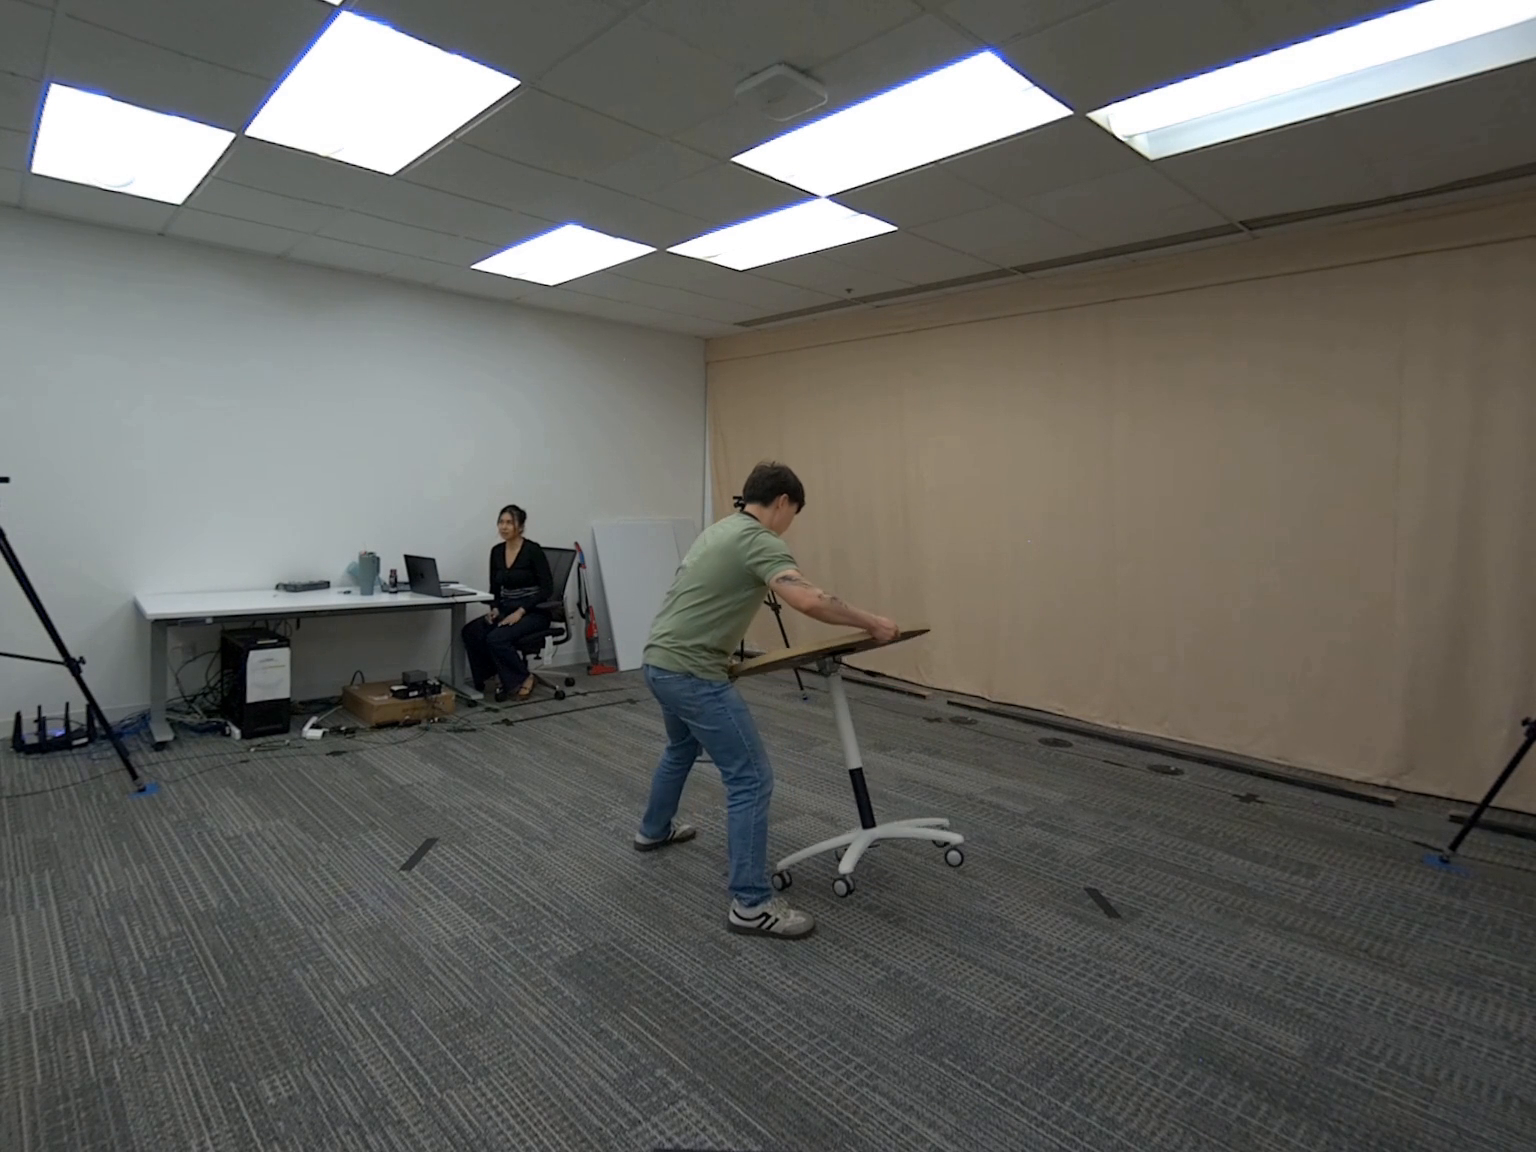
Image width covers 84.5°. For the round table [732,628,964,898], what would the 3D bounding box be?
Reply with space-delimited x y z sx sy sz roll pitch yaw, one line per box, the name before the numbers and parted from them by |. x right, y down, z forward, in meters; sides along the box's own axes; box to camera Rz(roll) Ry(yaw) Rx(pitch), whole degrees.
round table | 0.303 0.651 3.006 0.762 0.802 0.758 -12 -11 -4
